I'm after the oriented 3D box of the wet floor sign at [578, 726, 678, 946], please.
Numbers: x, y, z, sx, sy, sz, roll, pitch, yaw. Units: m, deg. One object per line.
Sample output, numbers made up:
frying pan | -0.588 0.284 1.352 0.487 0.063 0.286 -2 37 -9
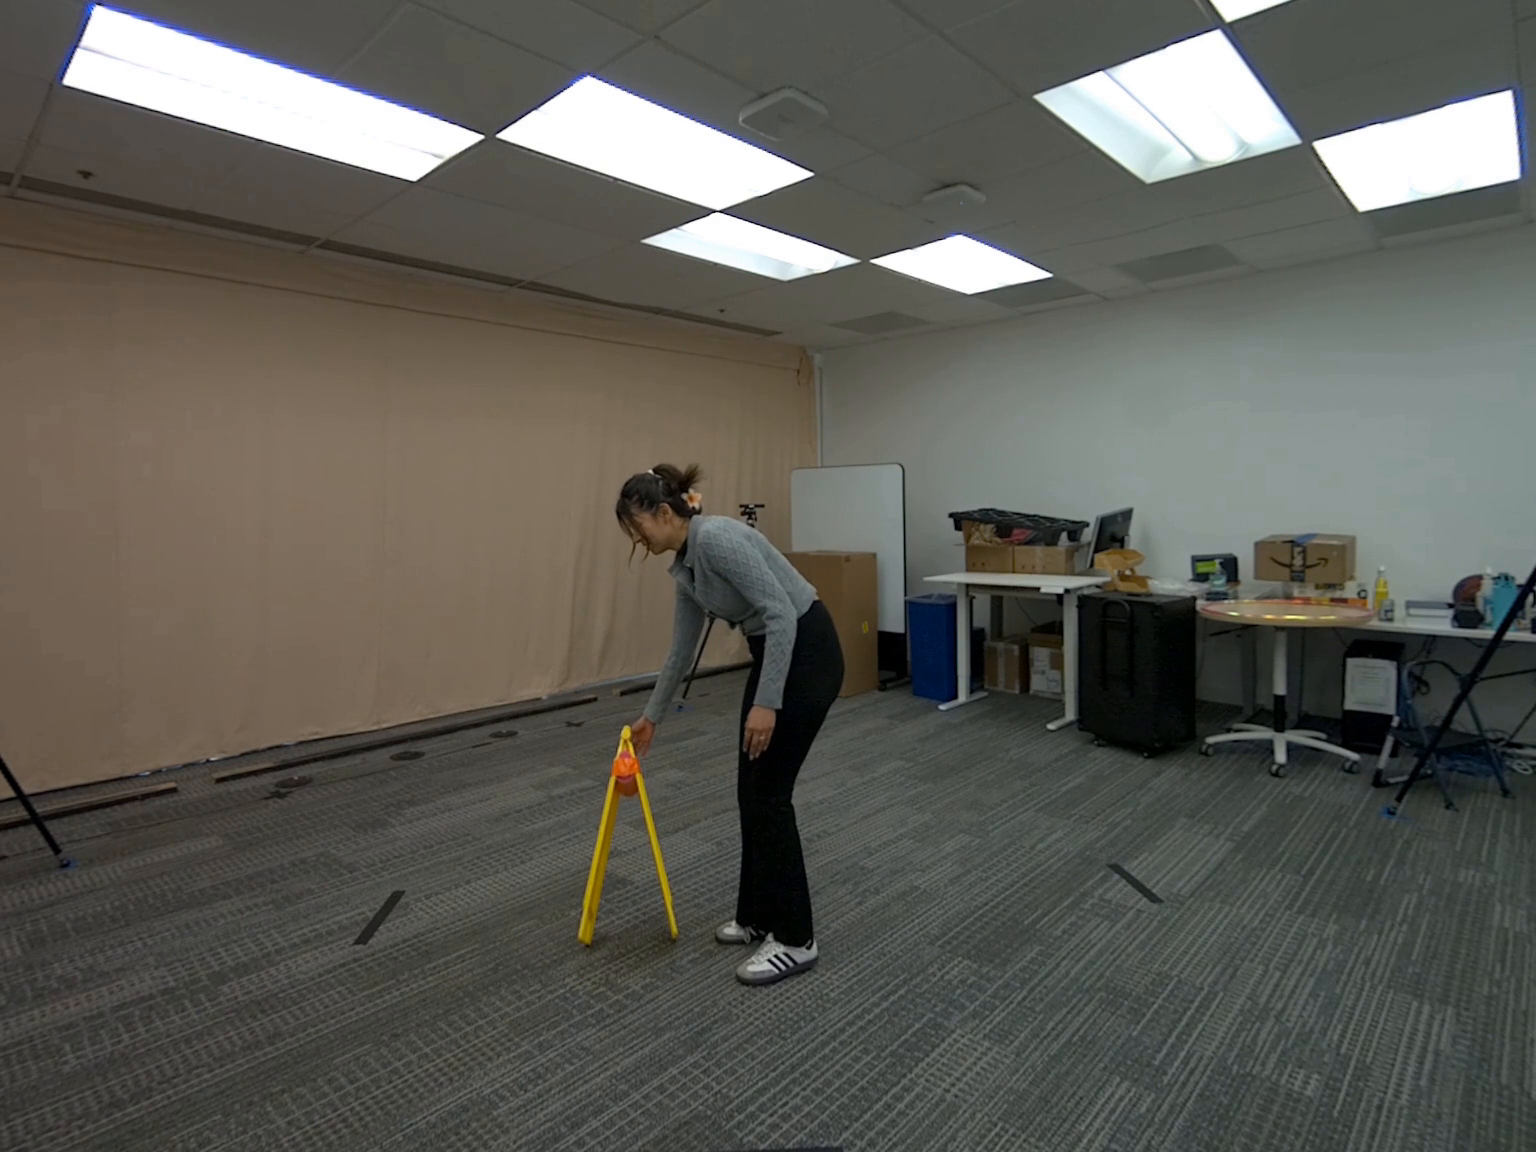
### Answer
wet floor sign | -0.457 0.830 2.732 0.288 0.657 0.279 -3 -27 -5
